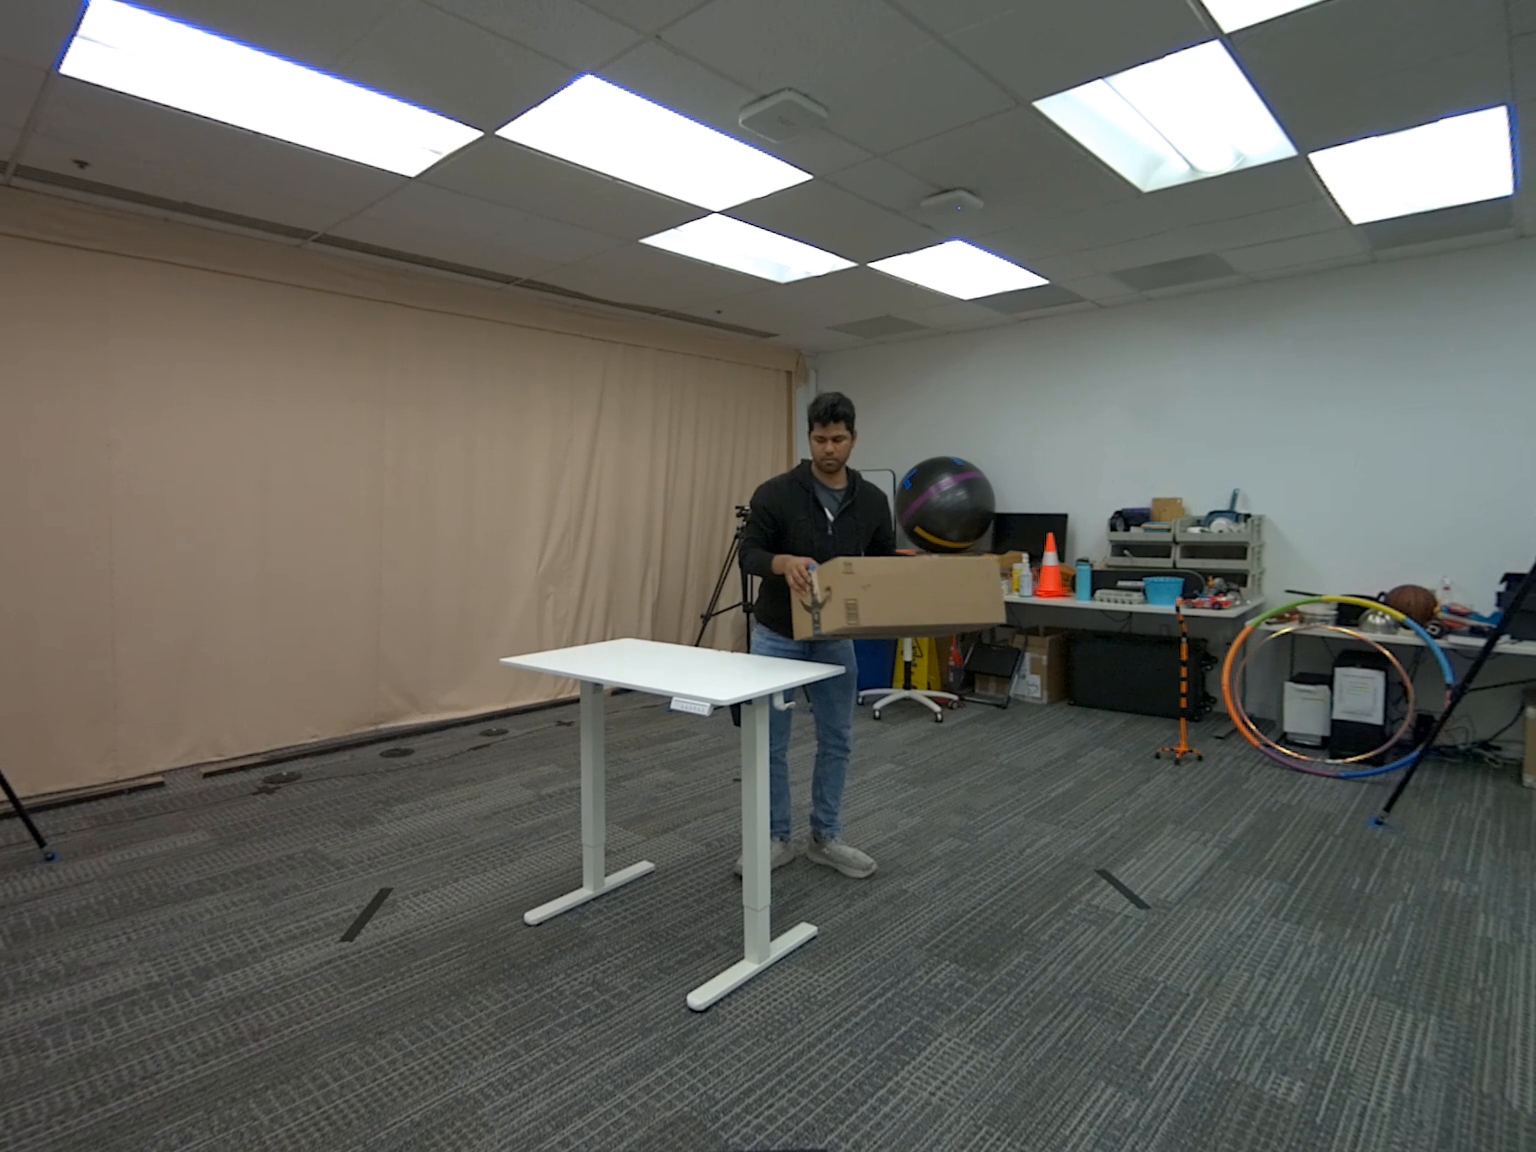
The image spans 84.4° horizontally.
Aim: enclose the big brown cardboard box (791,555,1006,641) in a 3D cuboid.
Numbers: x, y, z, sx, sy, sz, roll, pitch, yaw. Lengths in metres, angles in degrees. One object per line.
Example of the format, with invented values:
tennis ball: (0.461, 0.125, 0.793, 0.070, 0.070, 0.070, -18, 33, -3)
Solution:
big brown cardboard box: (0.410, 0.095, 2.800, 0.578, 0.235, 0.422, -1, -9, -18)
